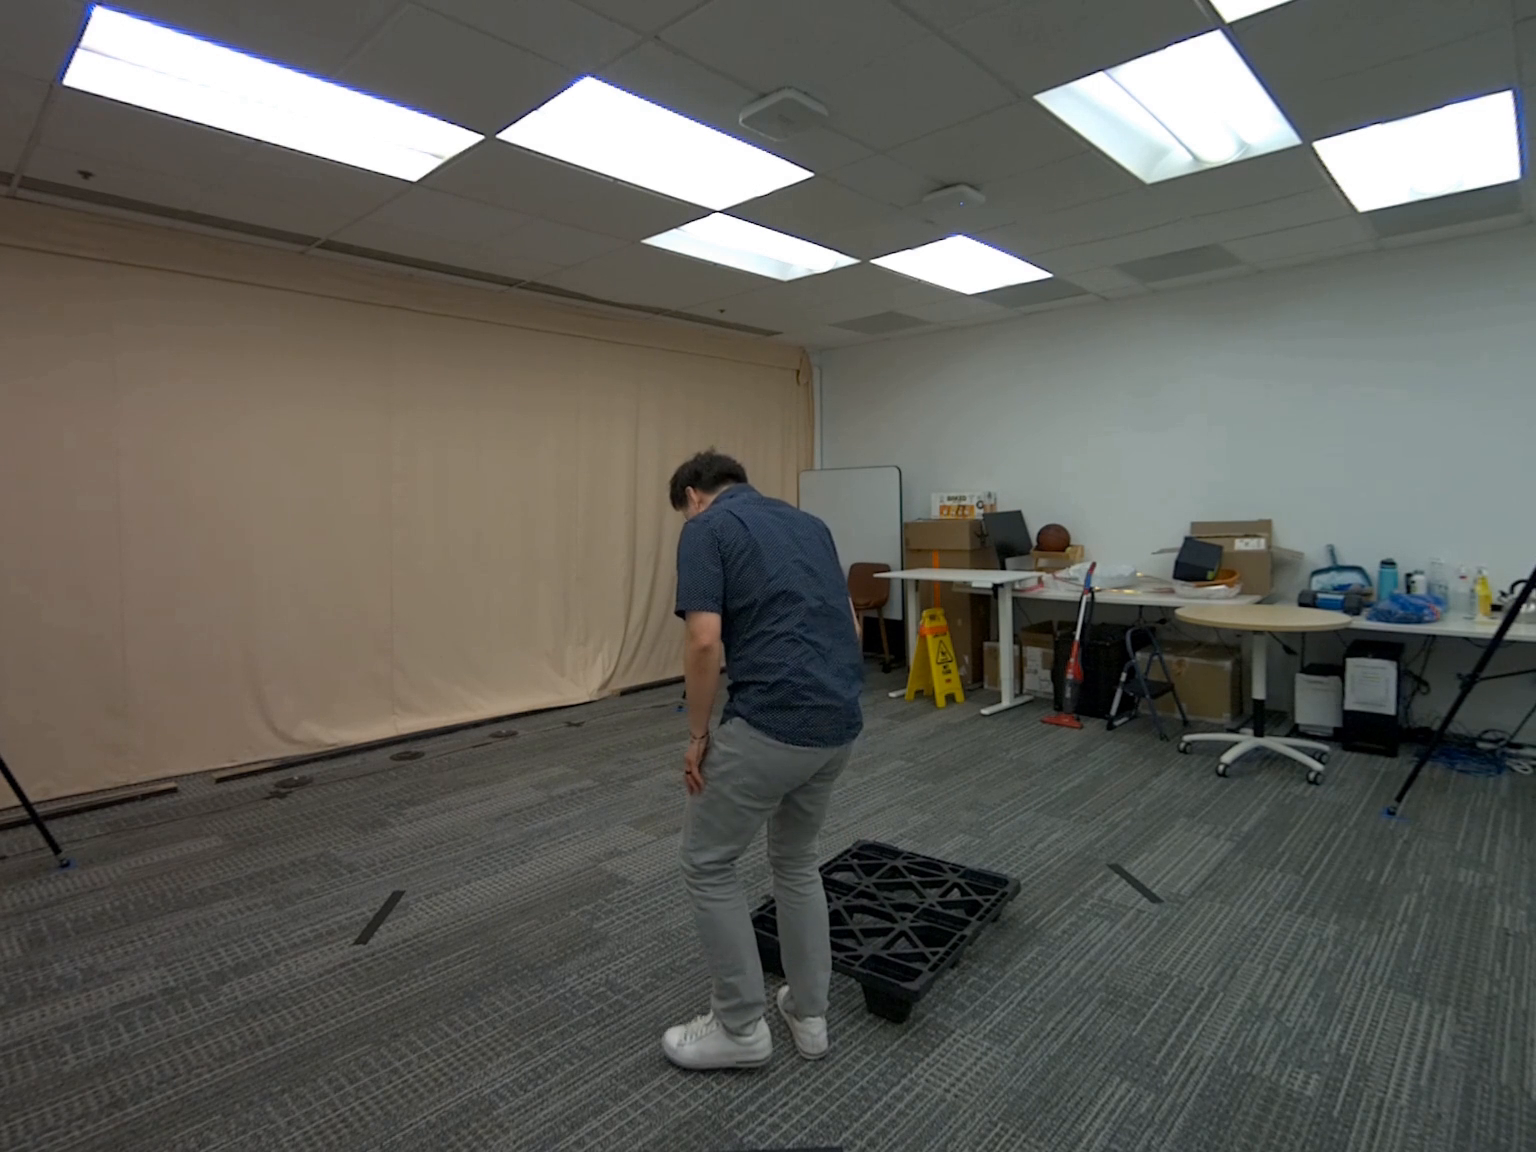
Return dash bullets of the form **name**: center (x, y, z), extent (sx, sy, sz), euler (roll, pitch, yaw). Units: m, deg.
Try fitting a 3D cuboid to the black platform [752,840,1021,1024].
- **black platform**: center (0.380, 1.093, 2.669), extent (0.625, 0.143, 0.782), euler (4, 7, 37)
